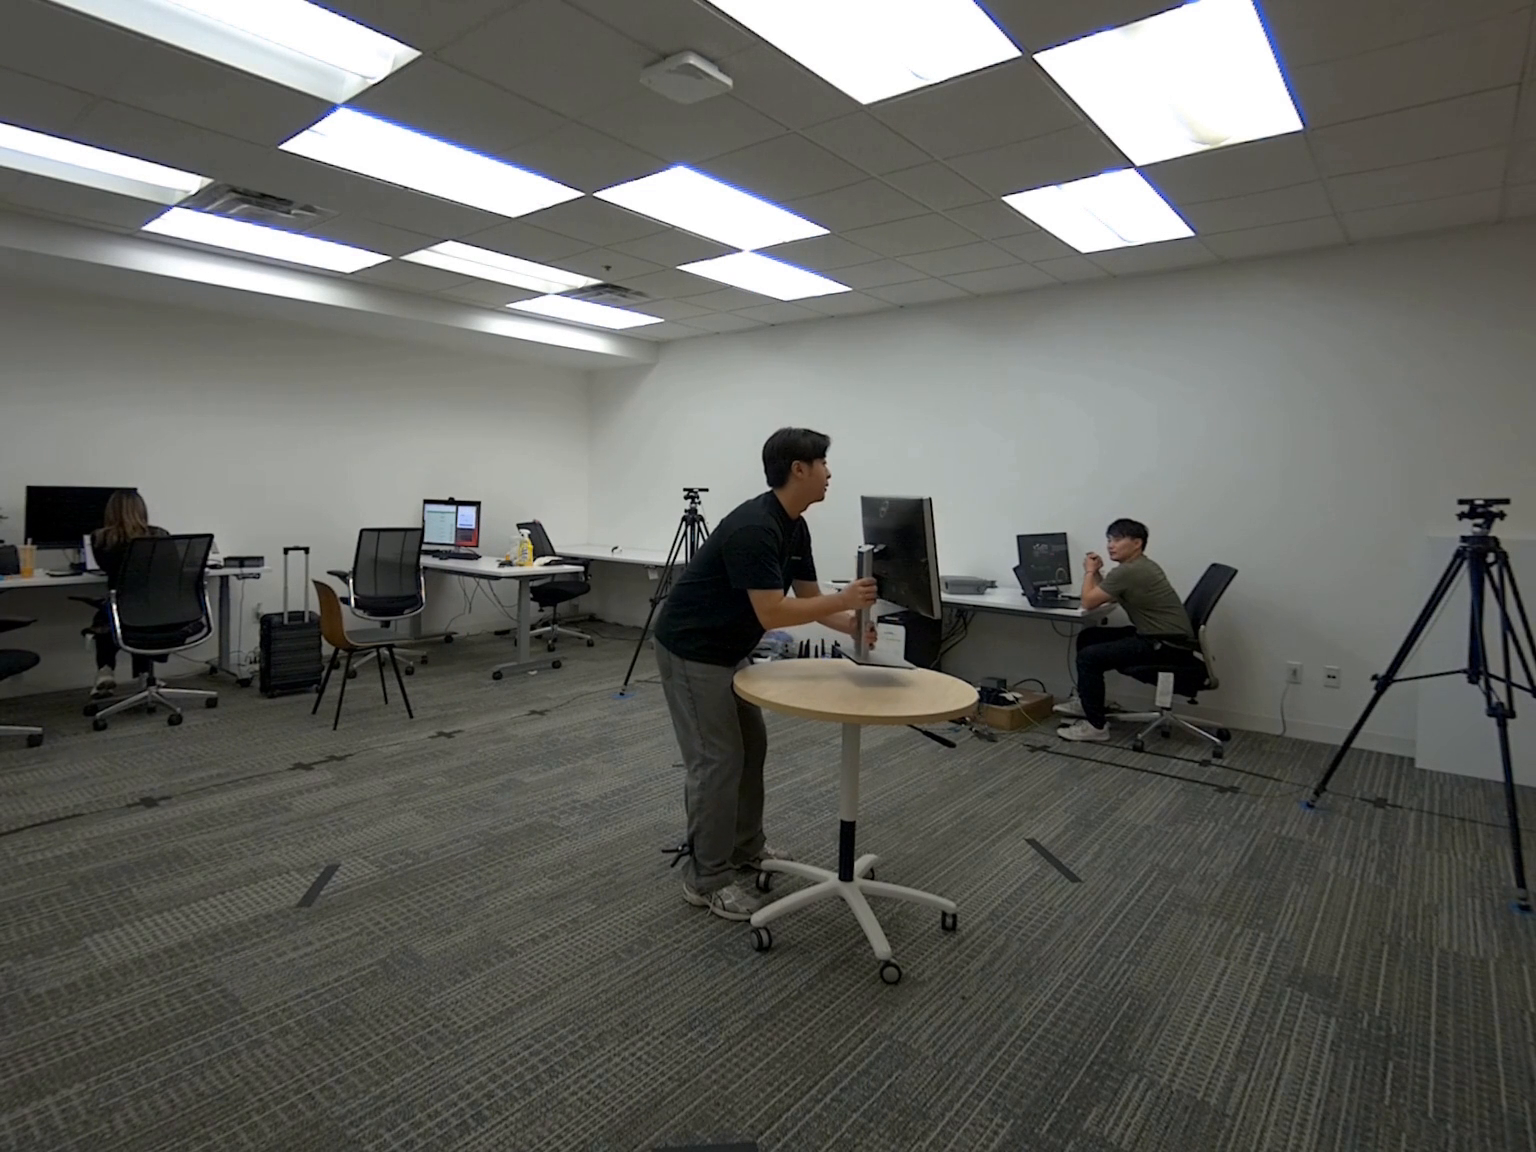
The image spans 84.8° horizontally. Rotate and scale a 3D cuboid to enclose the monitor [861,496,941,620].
[{"bbox_3d":[0.379,0.020,2.772,0.220,0.564,0.569,8,4,-10],"label":"monitor"}]
